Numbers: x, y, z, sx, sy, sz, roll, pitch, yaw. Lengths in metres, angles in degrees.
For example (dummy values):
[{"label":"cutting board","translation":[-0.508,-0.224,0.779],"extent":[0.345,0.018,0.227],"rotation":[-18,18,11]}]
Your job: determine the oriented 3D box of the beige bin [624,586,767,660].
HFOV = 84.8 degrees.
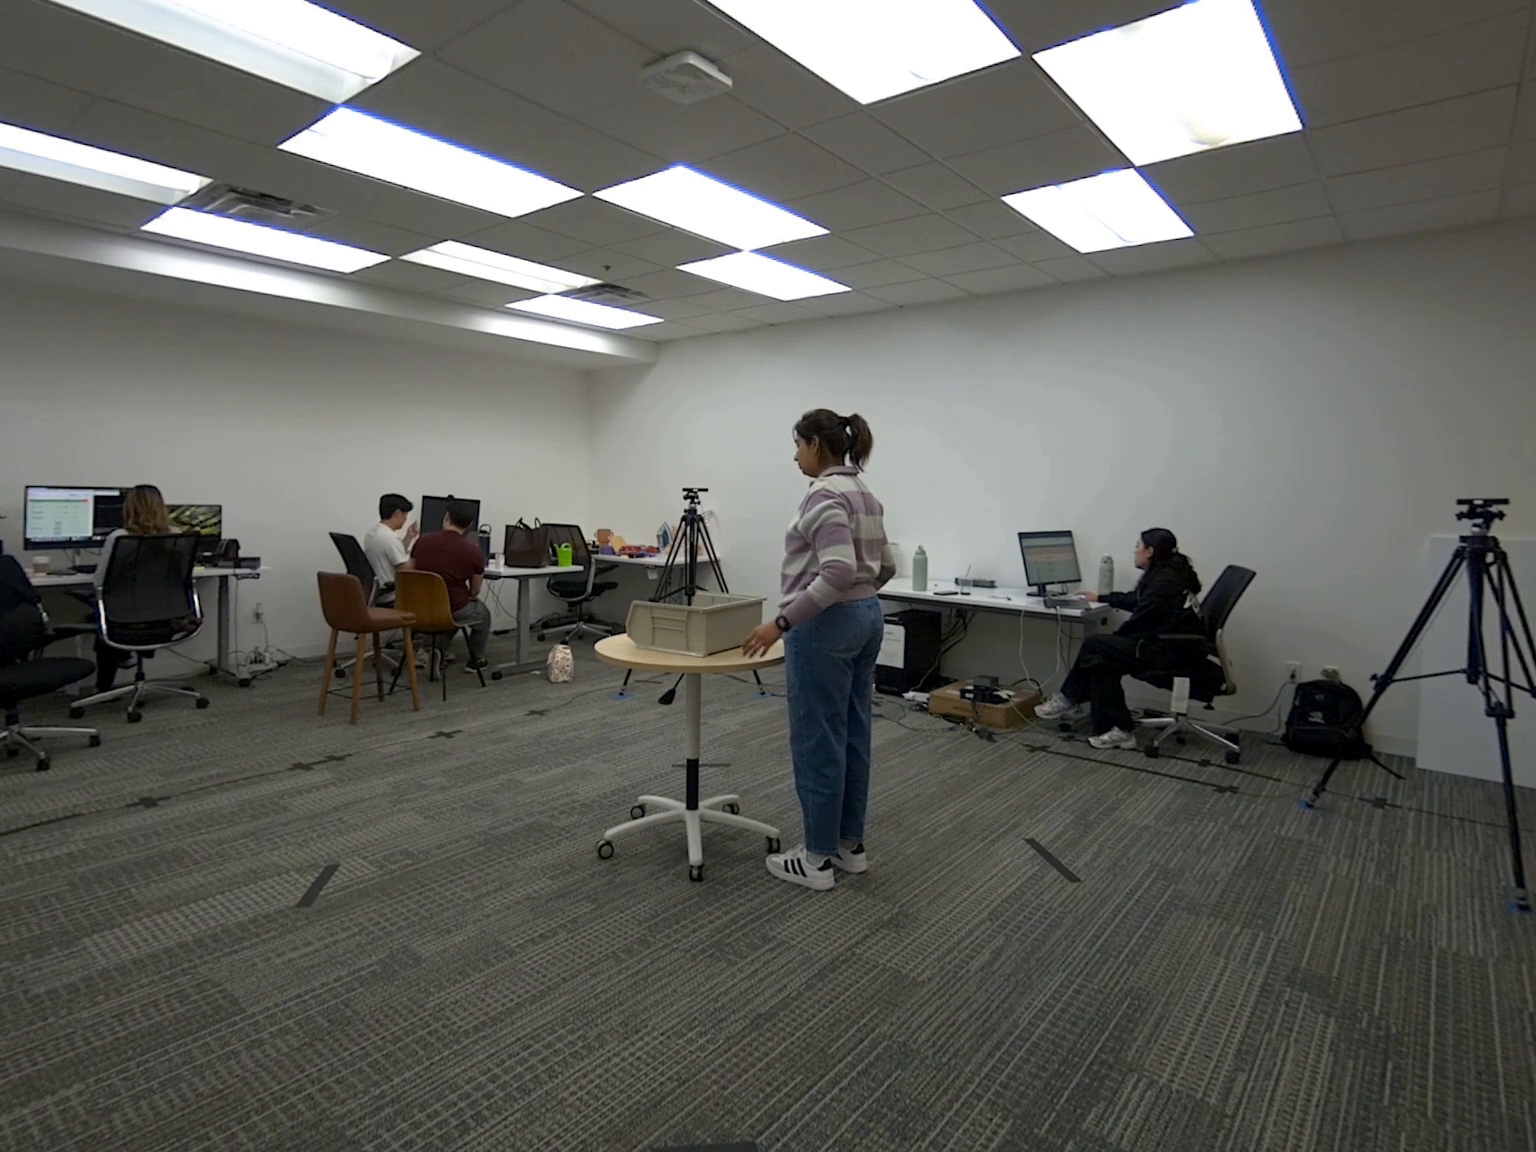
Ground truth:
[{"label":"beige bin","translation":[-0.281,0.172,3.317],"extent":[0.389,0.188,0.411],"rotation":[6,7,32]}]
